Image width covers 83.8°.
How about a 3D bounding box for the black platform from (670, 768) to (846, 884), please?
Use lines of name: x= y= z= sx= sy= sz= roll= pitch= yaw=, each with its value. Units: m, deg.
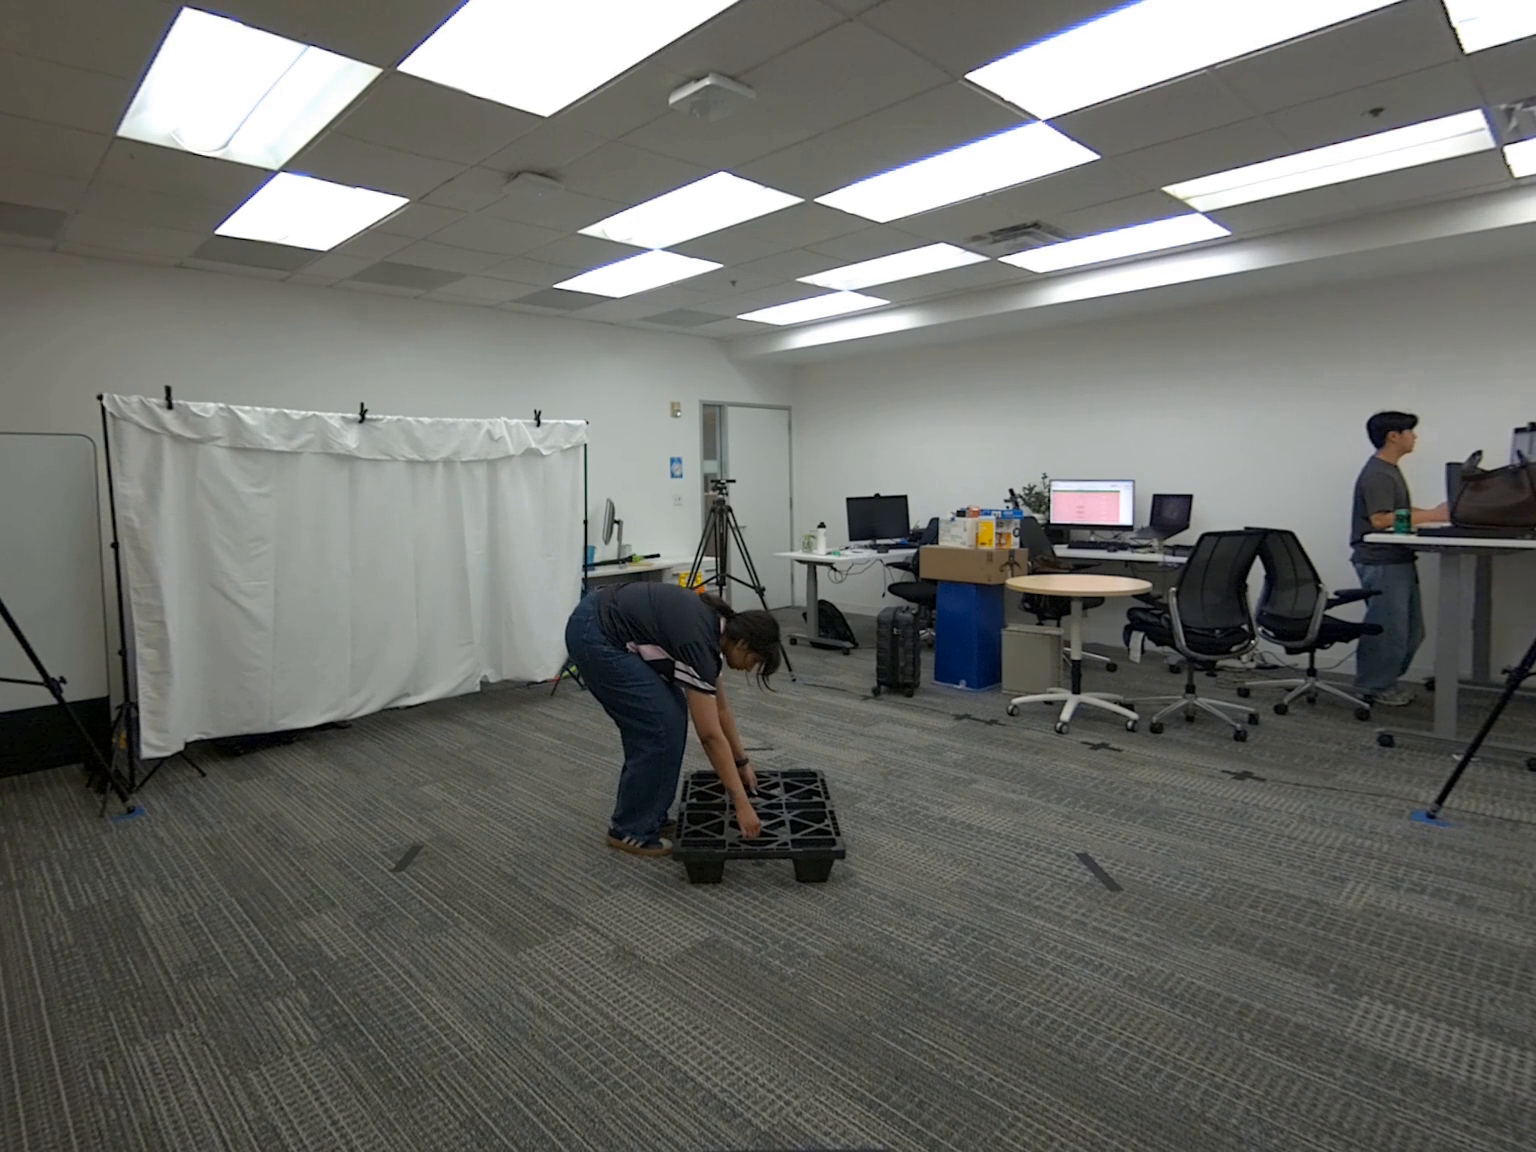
black platform: x=-0.045 y=0.943 z=3.317 sx=0.605 sy=0.142 sz=0.810 roll=0 pitch=7 yaw=-1
